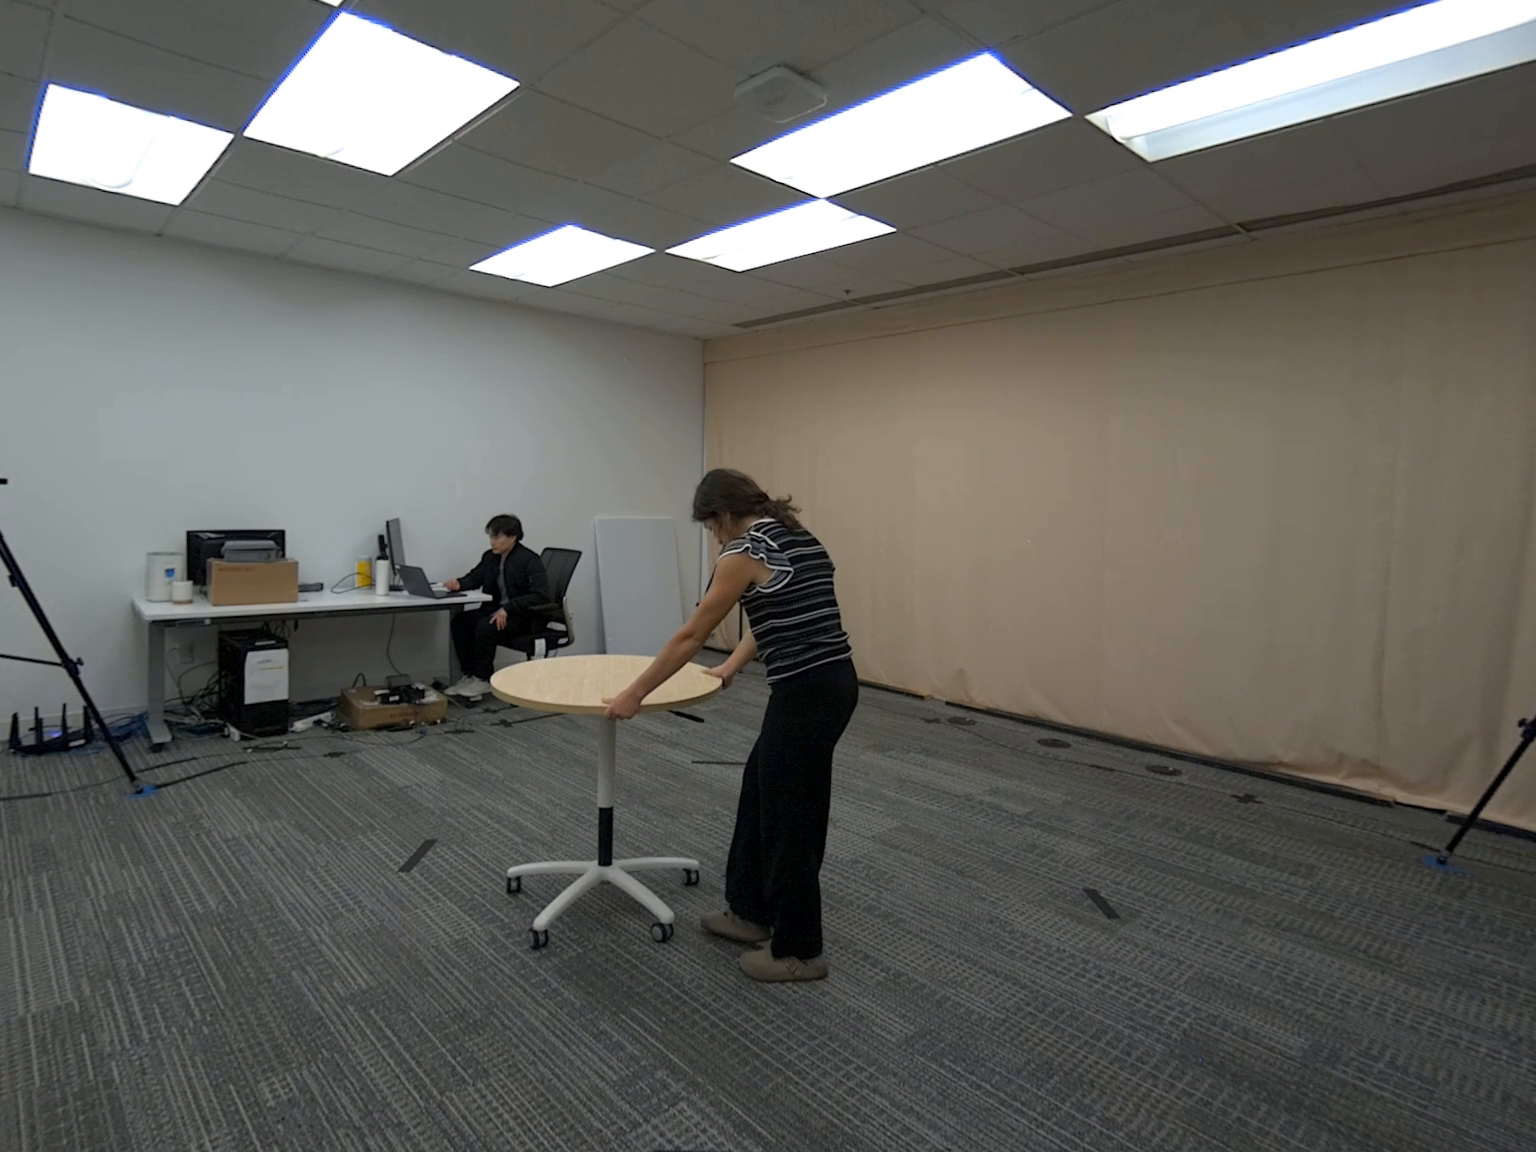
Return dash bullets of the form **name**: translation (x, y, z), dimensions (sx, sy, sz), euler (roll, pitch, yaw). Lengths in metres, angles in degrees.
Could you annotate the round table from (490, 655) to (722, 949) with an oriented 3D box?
- **round table**: translation (-0.556, 0.733, 2.856), dimensions (0.763, 0.792, 0.767), euler (2, 4, -1)
